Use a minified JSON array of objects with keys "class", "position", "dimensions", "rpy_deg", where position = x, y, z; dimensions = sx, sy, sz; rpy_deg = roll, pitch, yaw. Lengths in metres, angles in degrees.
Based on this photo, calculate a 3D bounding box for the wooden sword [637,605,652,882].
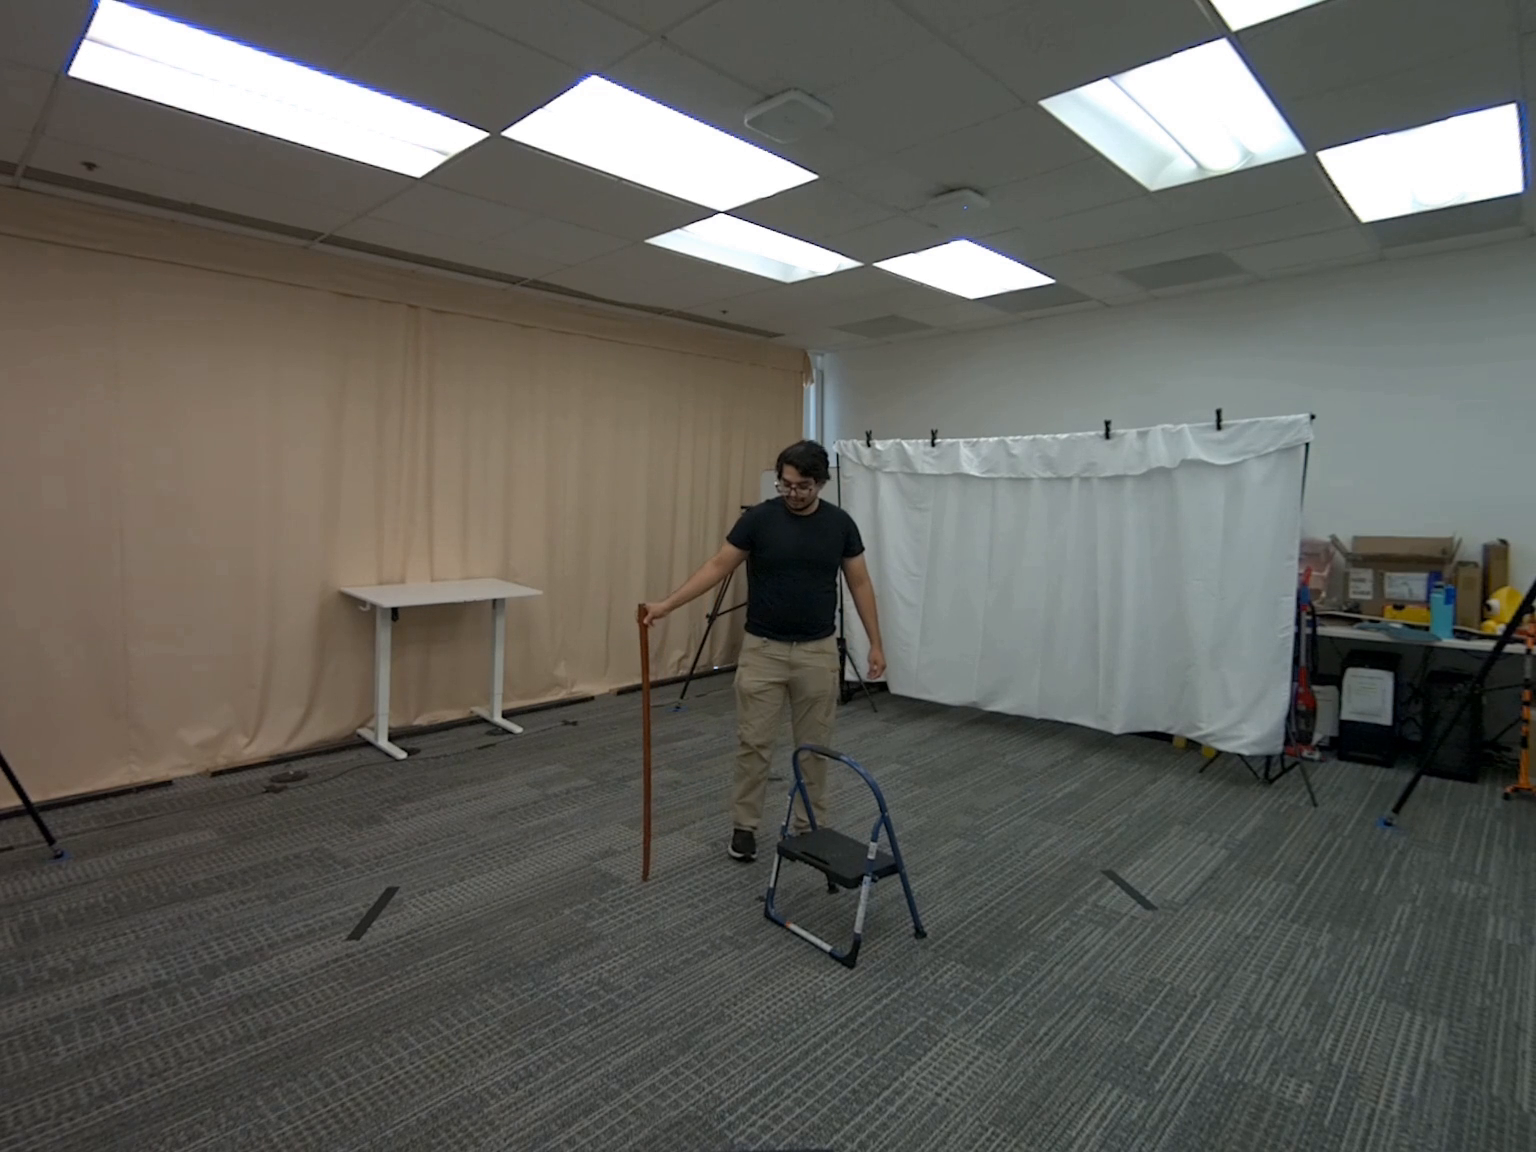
[{"class":"wooden sword","position":[-0.469,0.633,3.199],"dimensions":[0.052,1.029,0.024],"rpy_deg":[-5,-7,11]}]
